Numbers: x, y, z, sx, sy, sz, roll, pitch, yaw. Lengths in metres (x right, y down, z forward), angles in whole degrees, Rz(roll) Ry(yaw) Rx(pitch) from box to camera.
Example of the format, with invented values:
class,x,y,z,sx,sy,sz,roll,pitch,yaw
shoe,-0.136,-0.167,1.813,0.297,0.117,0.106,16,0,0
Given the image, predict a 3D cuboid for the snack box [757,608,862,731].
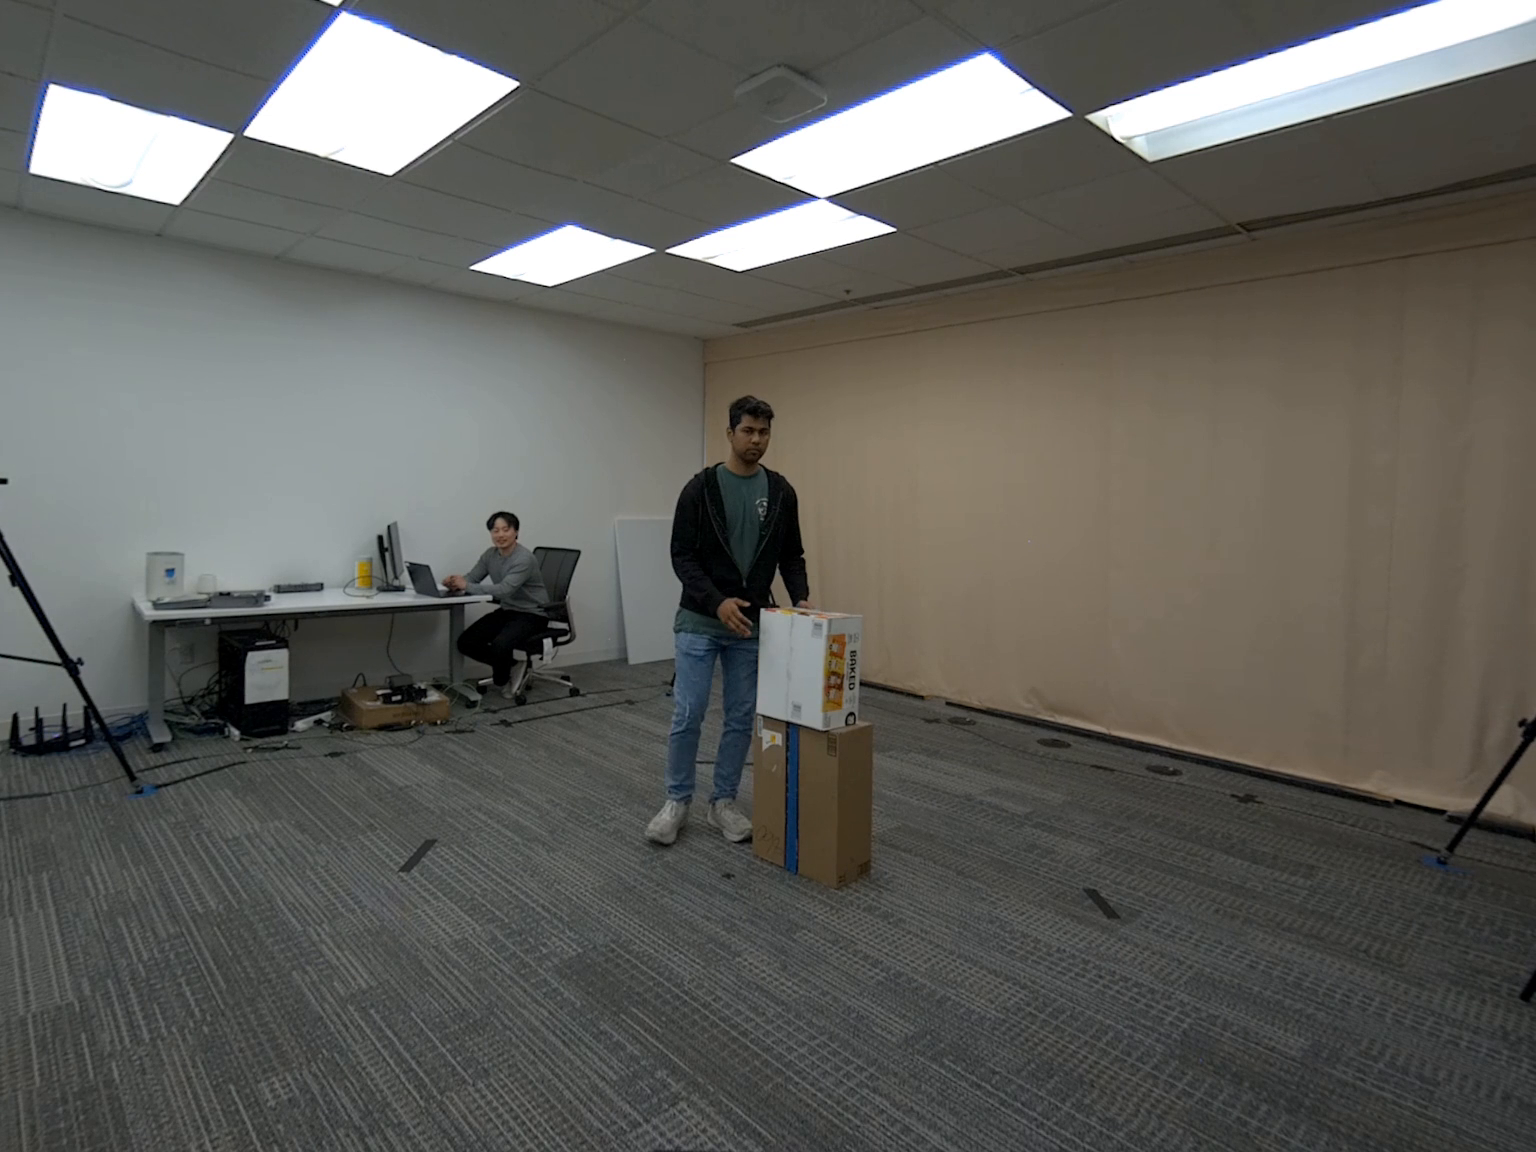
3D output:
class,x,y,z,sx,sy,sz,roll,pitch,yaw
snack box,0.144,0.337,3.176,0.201,0.404,0.349,1,3,-44
